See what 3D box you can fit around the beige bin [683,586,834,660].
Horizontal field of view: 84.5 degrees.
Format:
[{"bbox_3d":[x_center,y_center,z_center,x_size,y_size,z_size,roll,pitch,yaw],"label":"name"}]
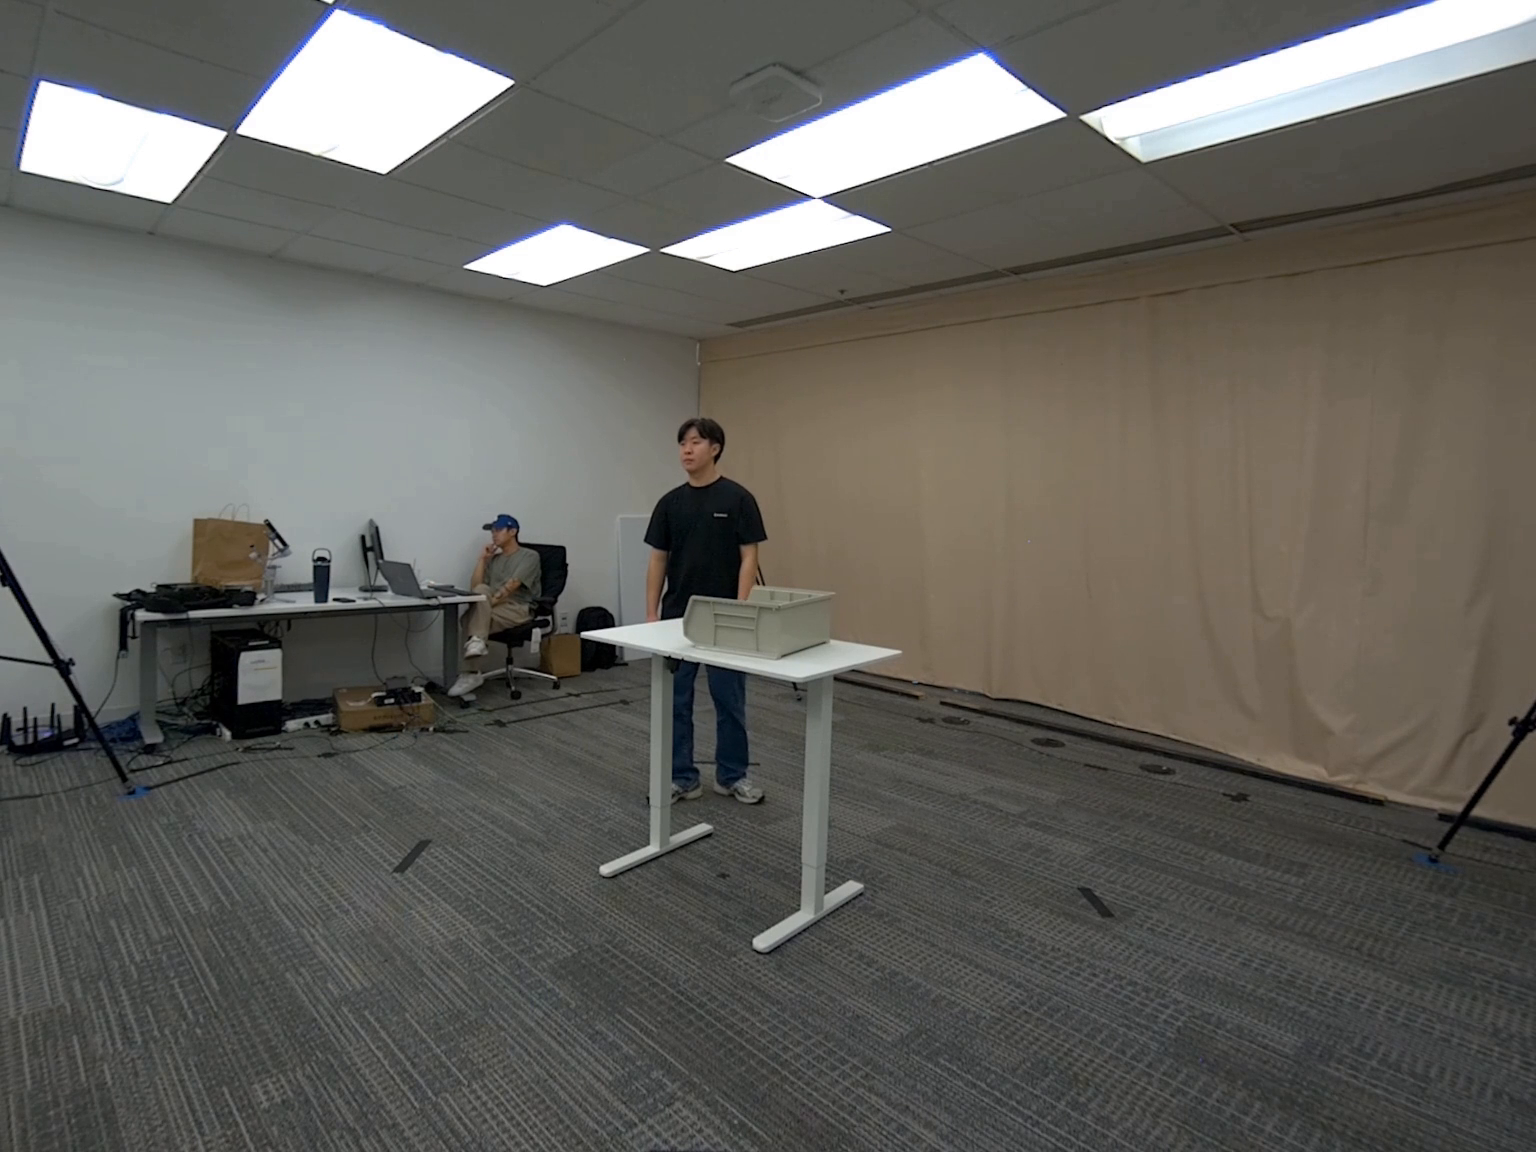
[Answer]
[{"bbox_3d":[-0.022,0.159,2.927,0.385,0.188,0.415,6,7,28],"label":"beige bin"}]
